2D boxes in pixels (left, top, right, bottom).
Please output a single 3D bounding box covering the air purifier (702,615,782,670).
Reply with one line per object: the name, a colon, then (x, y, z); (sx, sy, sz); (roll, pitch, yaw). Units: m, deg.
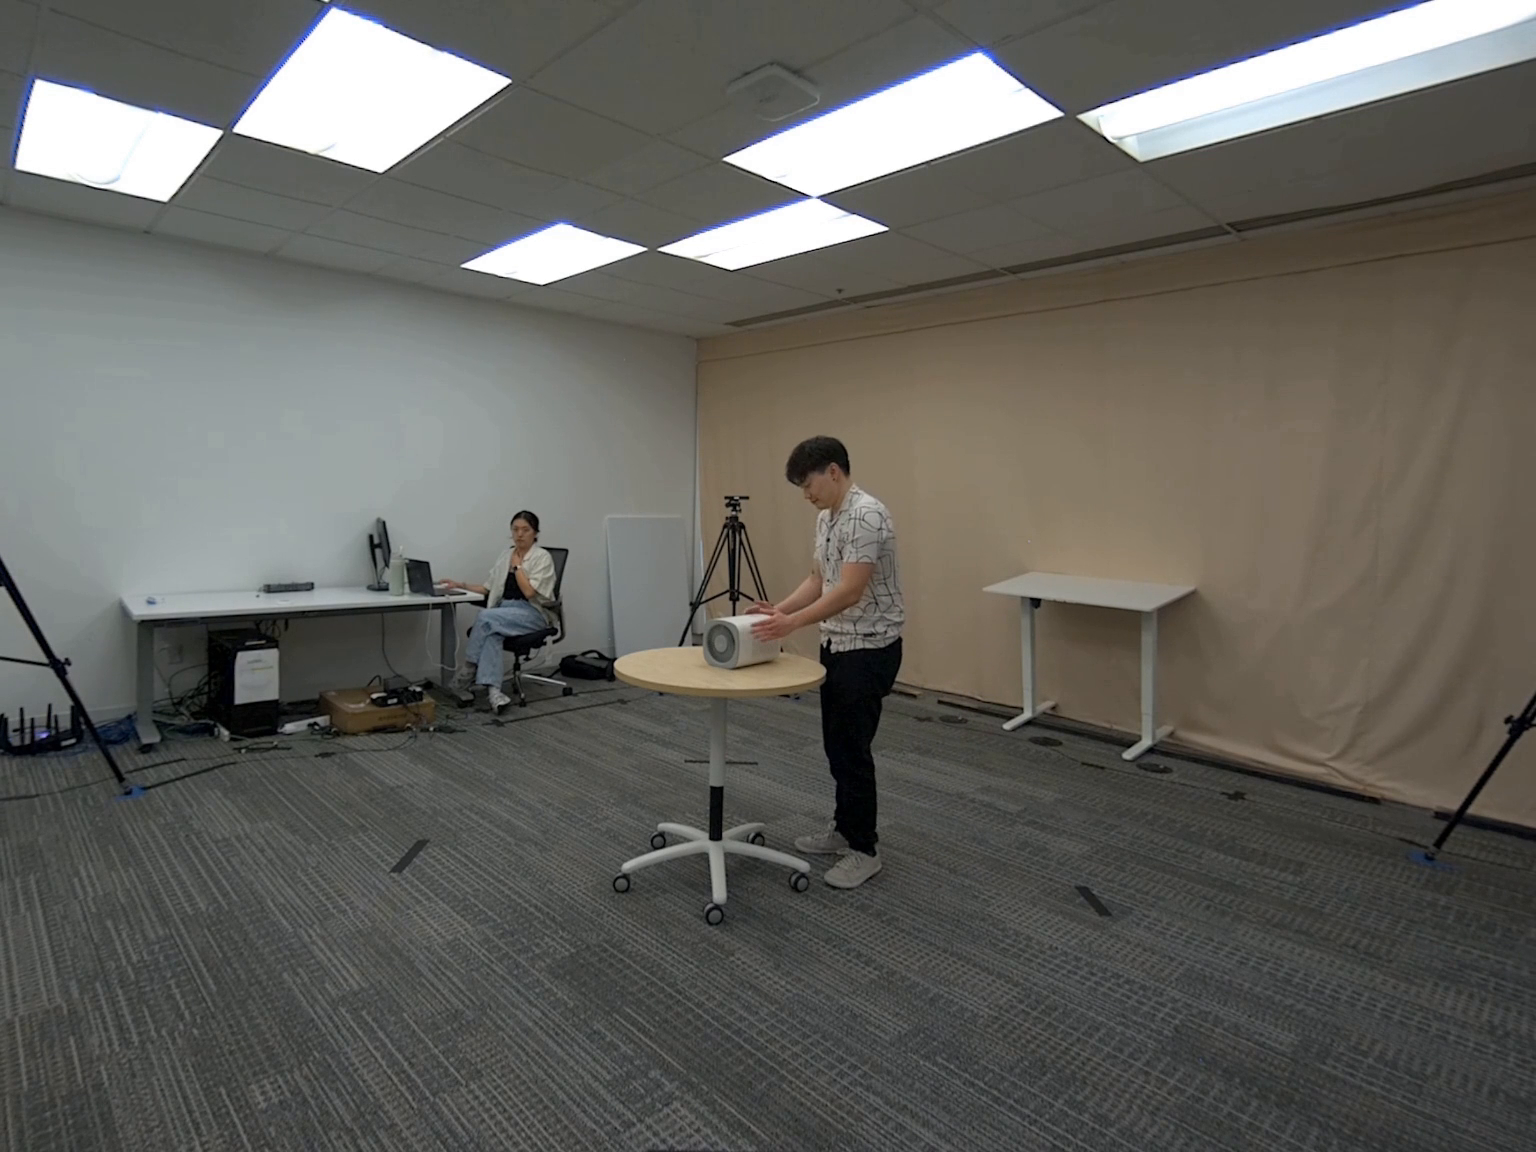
air purifier: (-0.092, 0.234, 3.098); (0.175, 0.171, 0.259); (6, 6, 39)
